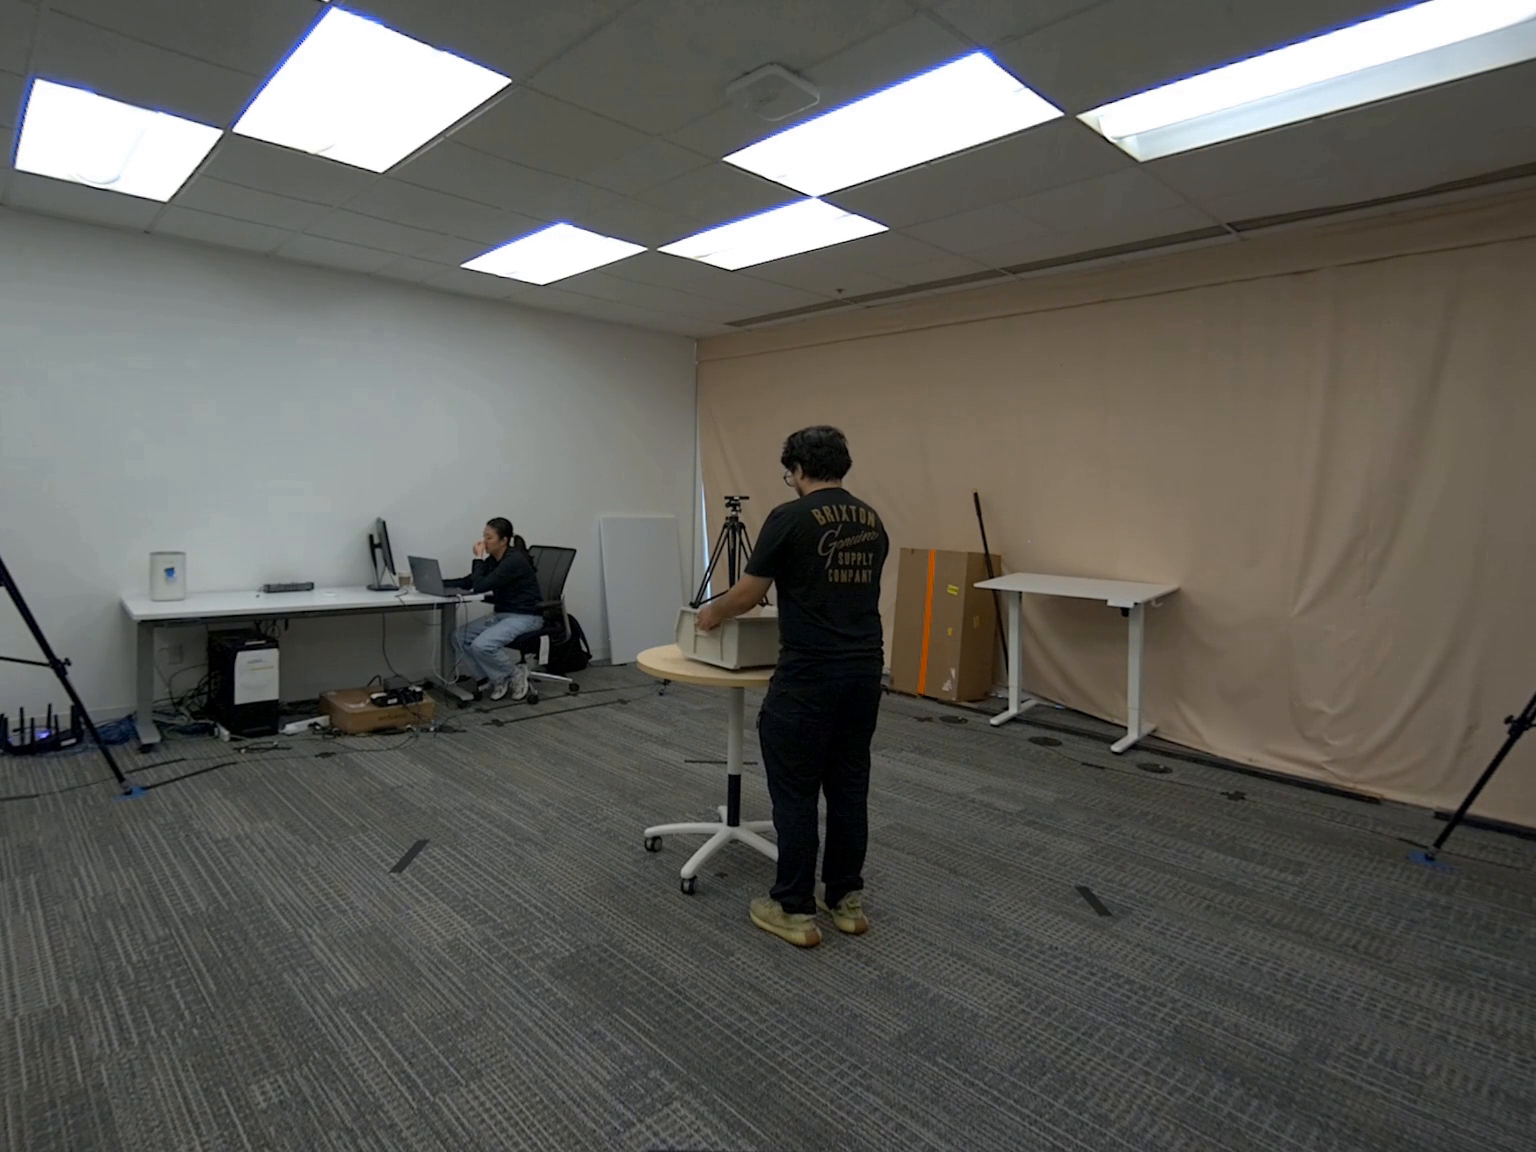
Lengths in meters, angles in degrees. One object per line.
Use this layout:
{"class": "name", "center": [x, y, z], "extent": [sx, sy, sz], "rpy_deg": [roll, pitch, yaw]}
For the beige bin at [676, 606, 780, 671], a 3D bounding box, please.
{"class": "beige bin", "center": [-0.076, 0.218, 3.137], "extent": [0.412, 0.188, 0.387], "rpy_deg": [2, 5, -39]}
